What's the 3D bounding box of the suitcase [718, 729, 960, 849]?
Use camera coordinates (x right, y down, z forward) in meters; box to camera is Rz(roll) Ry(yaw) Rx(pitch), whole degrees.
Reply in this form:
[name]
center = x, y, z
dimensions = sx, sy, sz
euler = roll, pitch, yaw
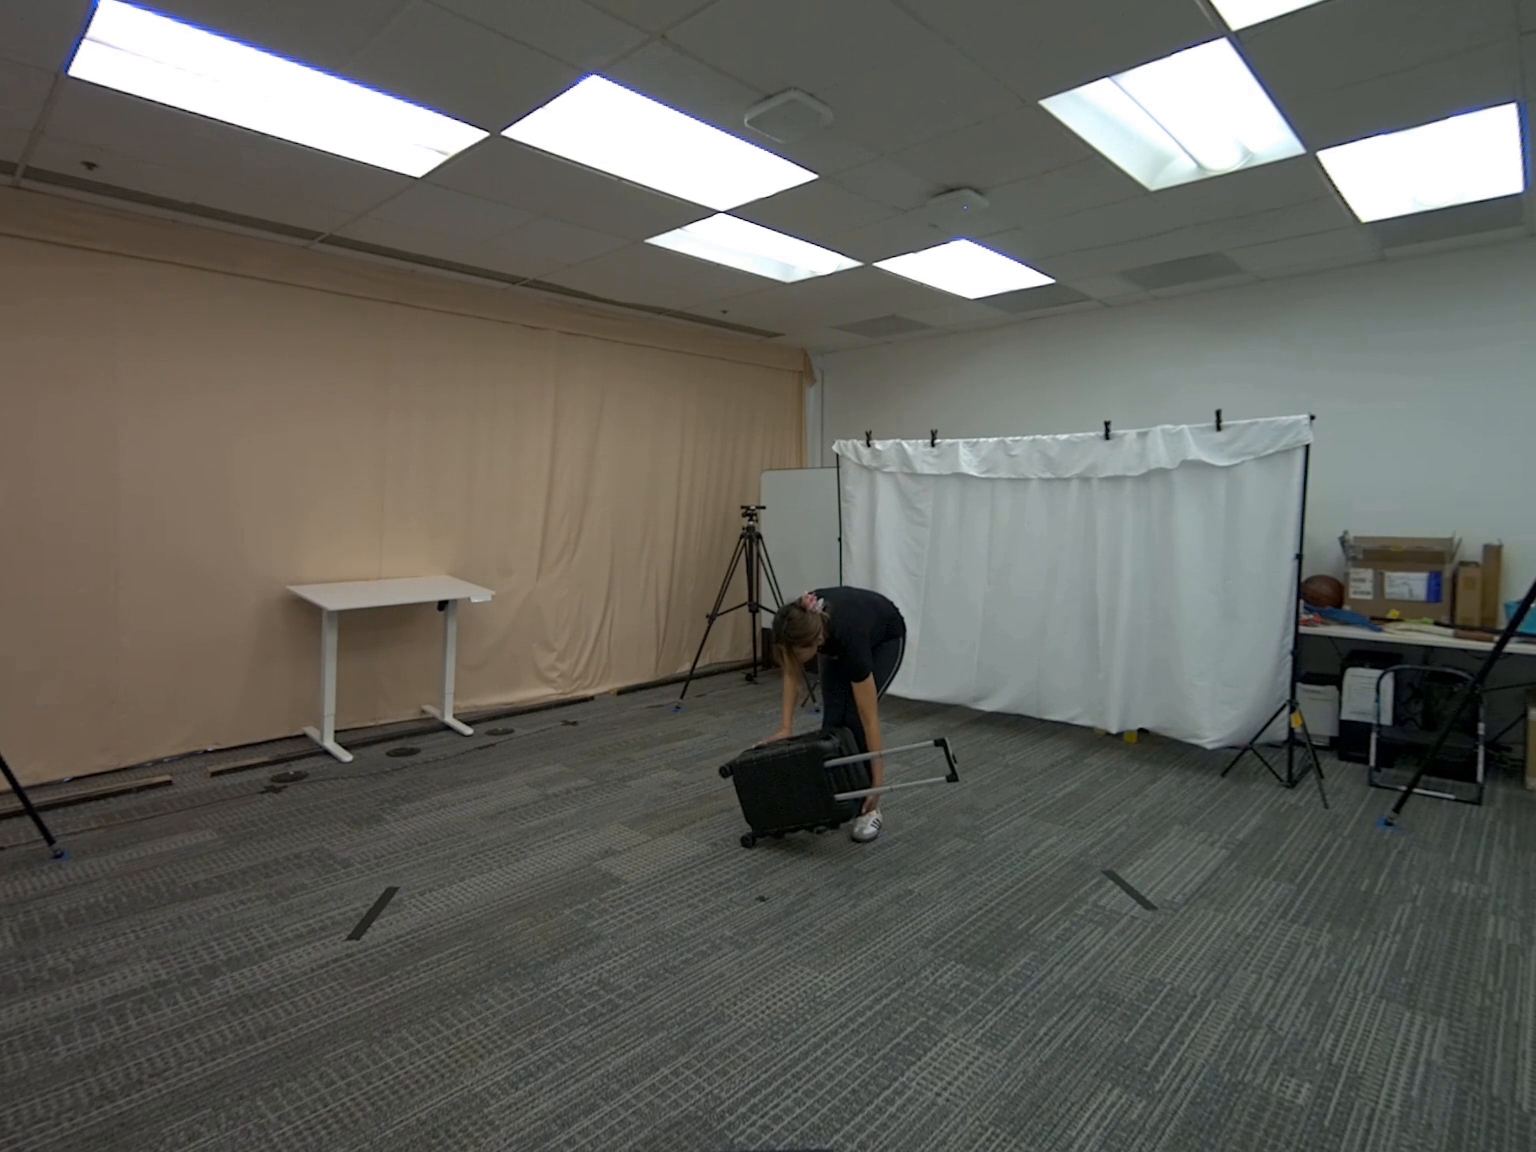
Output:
[suitcase]
center = 0.286, 0.773, 3.302
dimensions = 0.998, 0.387, 0.250
euler = -21, -9, 31
